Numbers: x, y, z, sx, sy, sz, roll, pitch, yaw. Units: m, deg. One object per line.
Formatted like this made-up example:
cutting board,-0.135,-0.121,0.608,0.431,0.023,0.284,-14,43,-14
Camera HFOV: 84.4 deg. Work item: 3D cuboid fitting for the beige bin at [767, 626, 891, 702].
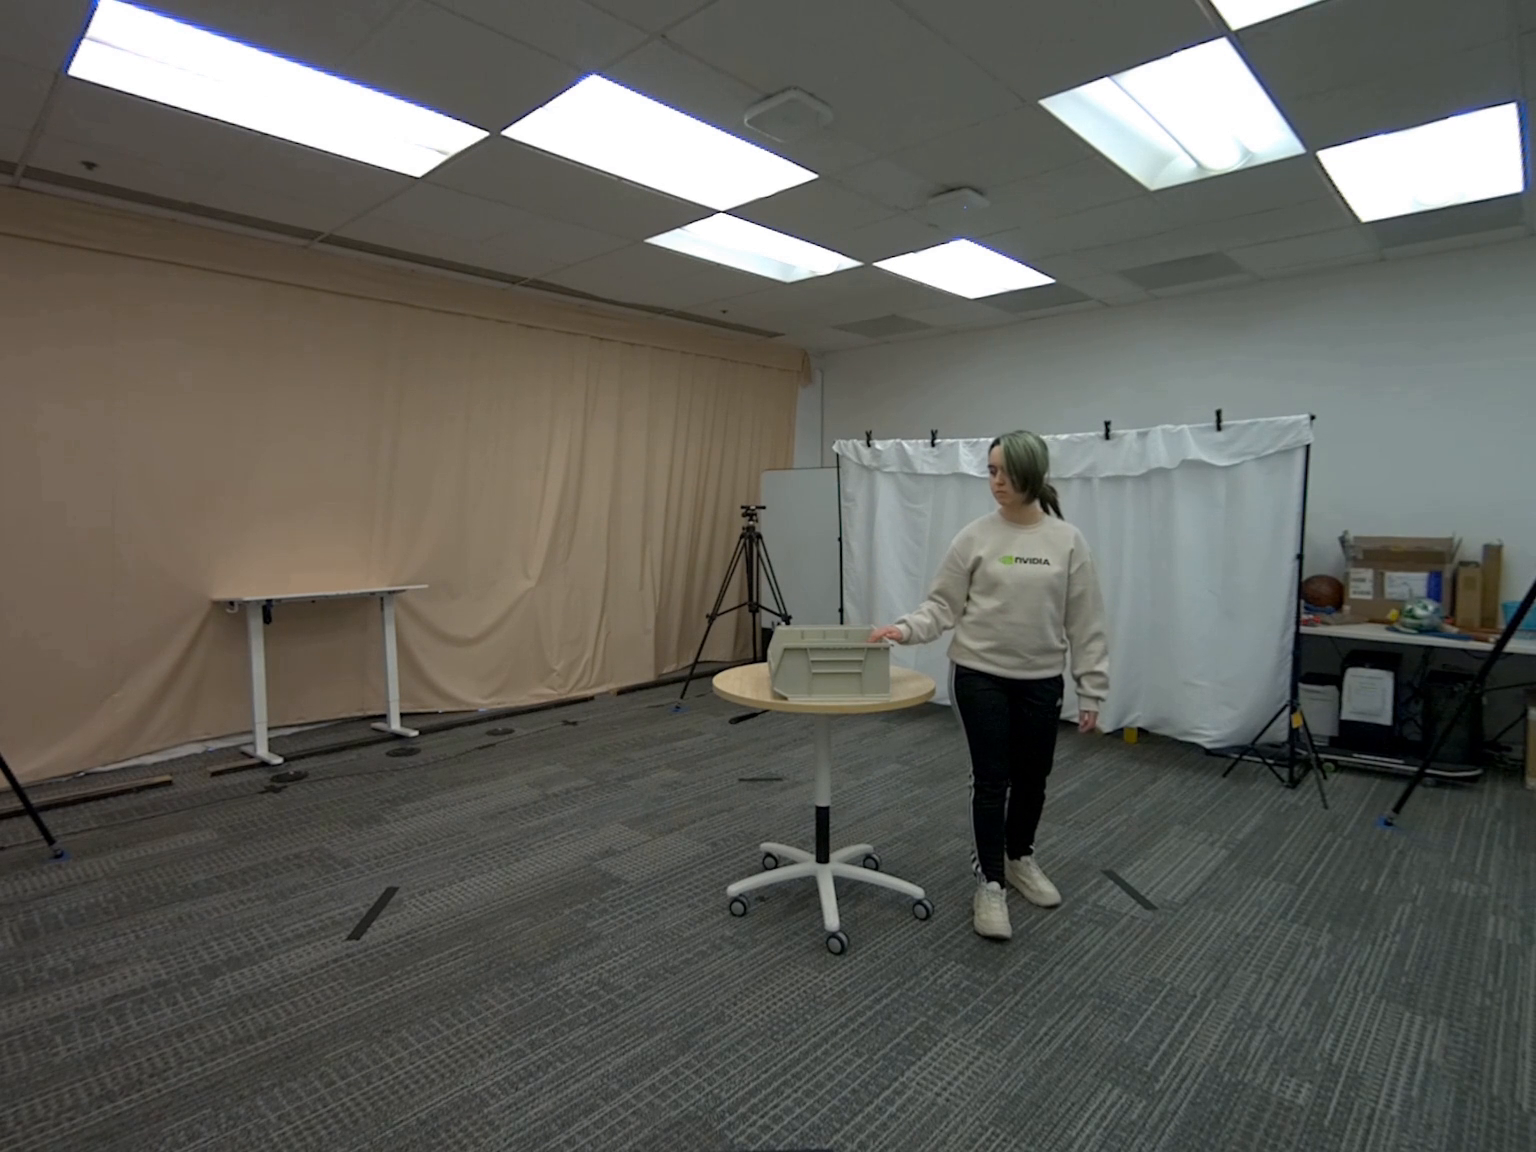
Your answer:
beige bin,0.196,0.286,2.802,0.378,0.188,0.423,0,4,0
